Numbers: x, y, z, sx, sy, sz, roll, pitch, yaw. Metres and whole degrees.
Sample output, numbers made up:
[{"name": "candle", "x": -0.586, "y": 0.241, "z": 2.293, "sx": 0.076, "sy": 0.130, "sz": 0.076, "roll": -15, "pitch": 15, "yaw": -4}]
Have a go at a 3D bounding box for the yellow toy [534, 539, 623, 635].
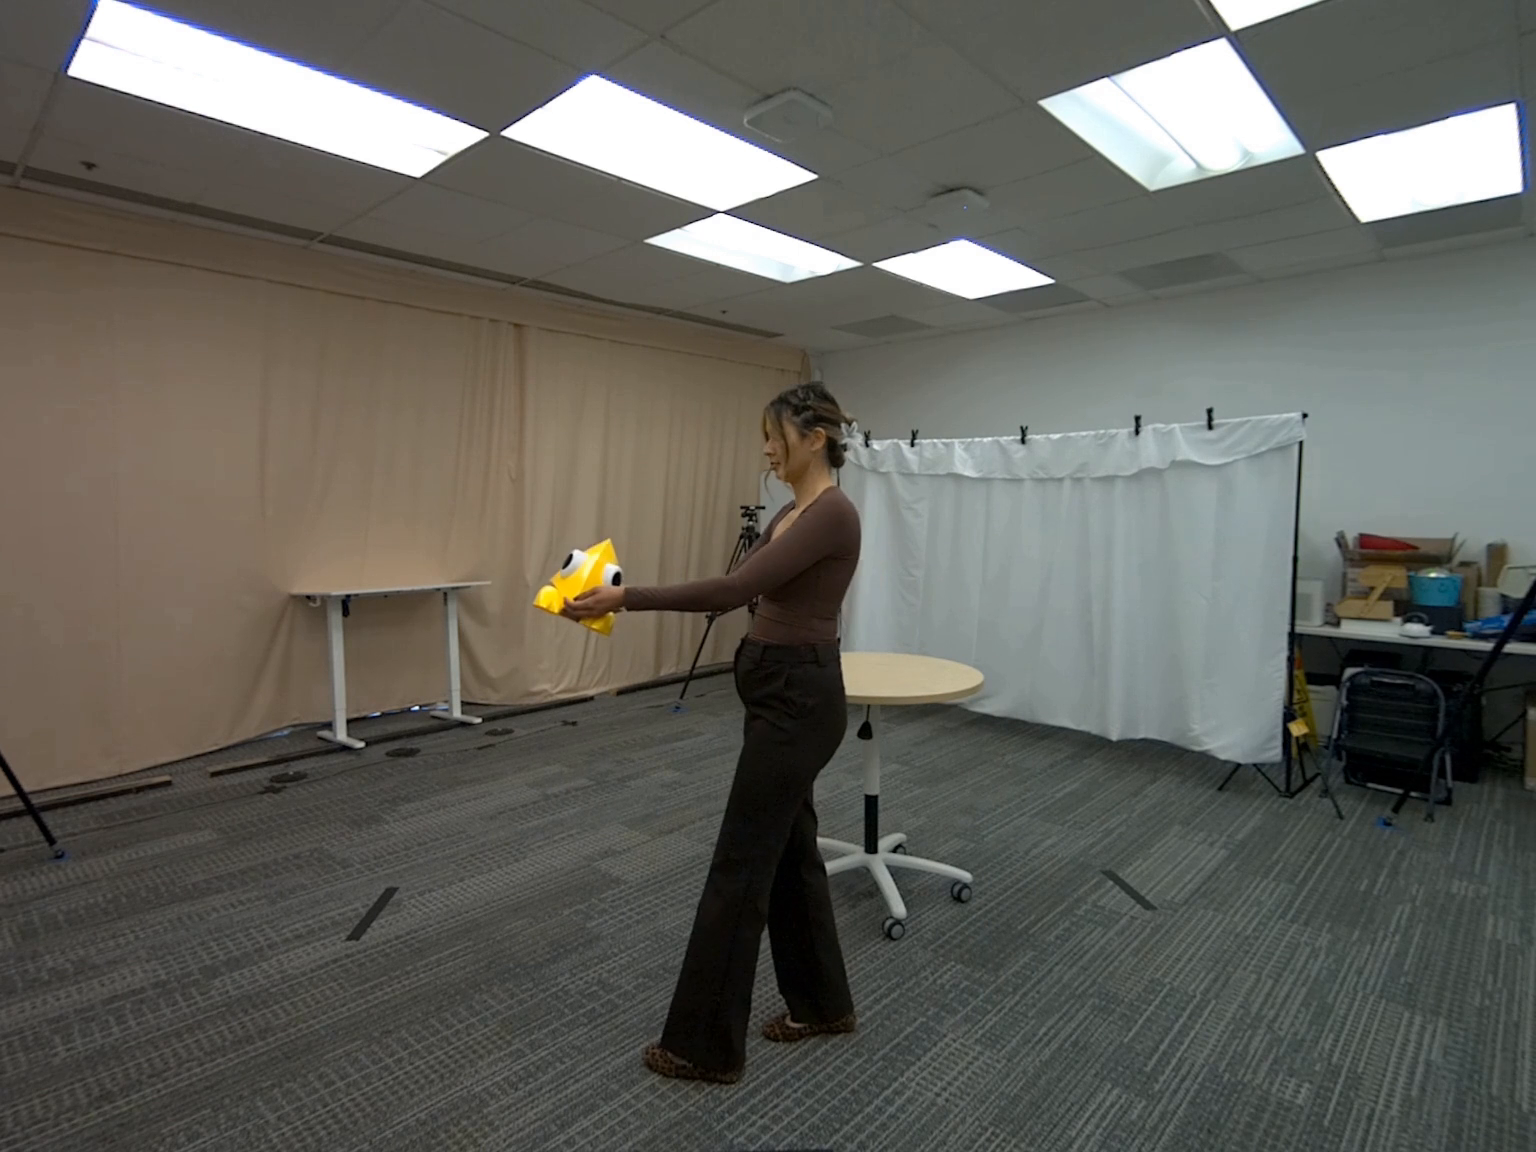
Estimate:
[{"name": "yellow toy", "x": -0.431, "y": 0.002, "z": 2.072, "sx": 0.204, "sy": 0.231, "sz": 0.193, "roll": 22, "pitch": -11, "yaw": -4}]
